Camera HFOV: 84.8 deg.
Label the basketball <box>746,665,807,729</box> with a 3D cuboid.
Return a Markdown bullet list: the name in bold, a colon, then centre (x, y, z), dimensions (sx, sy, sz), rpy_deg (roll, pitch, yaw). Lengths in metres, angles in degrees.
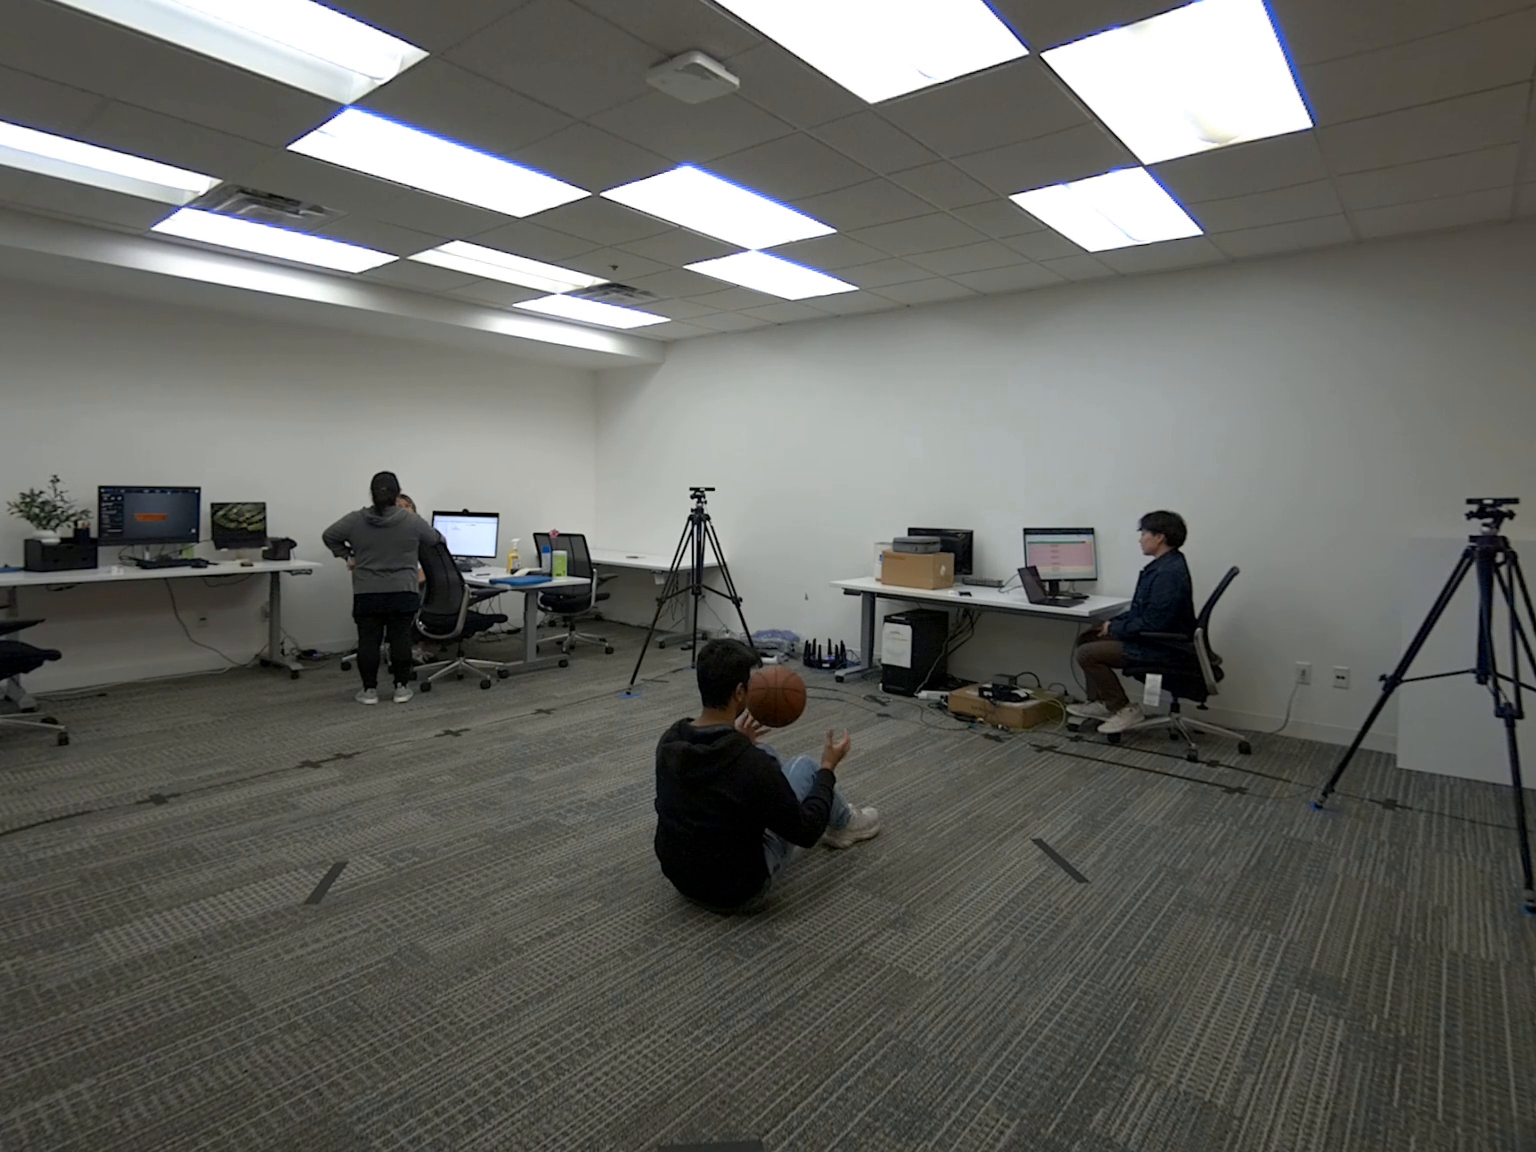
- **basketball**: centre (0.019, 0.496, 3.264), dimensions (0.235, 0.235, 0.237), rpy_deg (1, 4, -2)
